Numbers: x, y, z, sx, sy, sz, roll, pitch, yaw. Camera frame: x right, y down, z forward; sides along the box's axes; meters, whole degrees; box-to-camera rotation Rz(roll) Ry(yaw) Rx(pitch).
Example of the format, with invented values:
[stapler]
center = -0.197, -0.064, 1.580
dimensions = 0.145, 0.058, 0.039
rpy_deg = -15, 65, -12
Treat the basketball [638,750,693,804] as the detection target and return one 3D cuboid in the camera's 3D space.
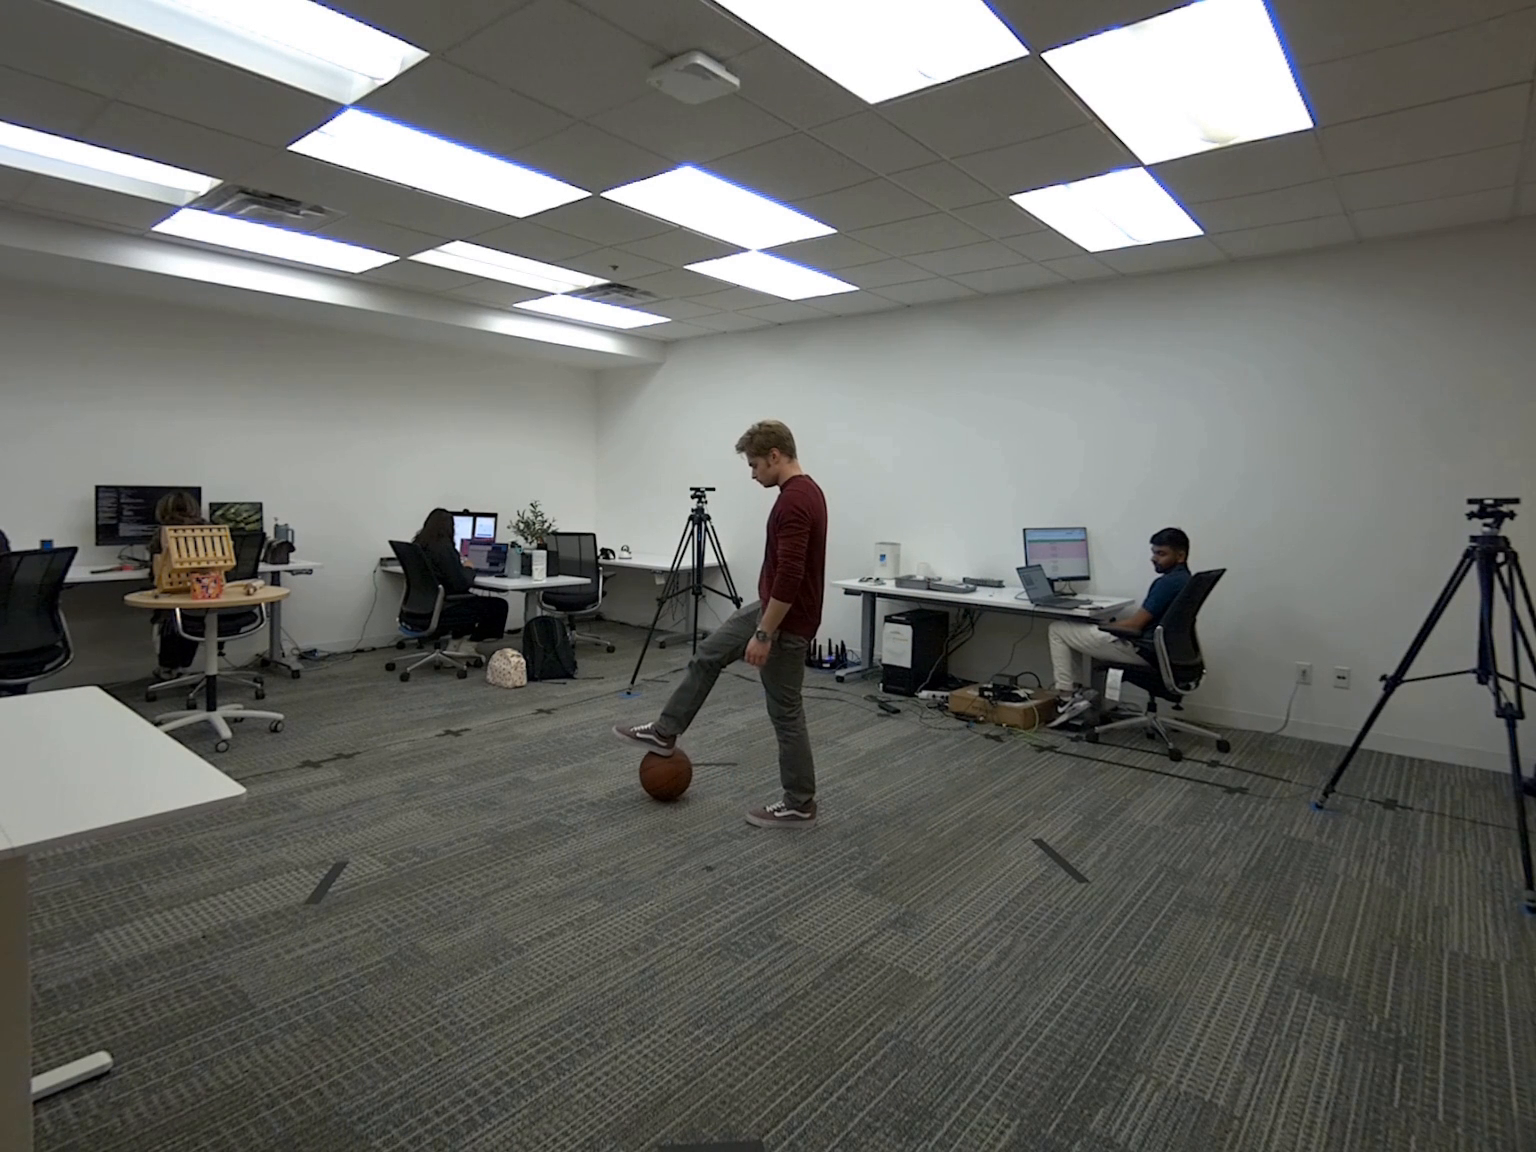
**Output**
[basketball]
center = -0.469, 0.875, 3.806
dimensions = 0.235, 0.235, 0.237
rpy_deg = 1, 4, -2
